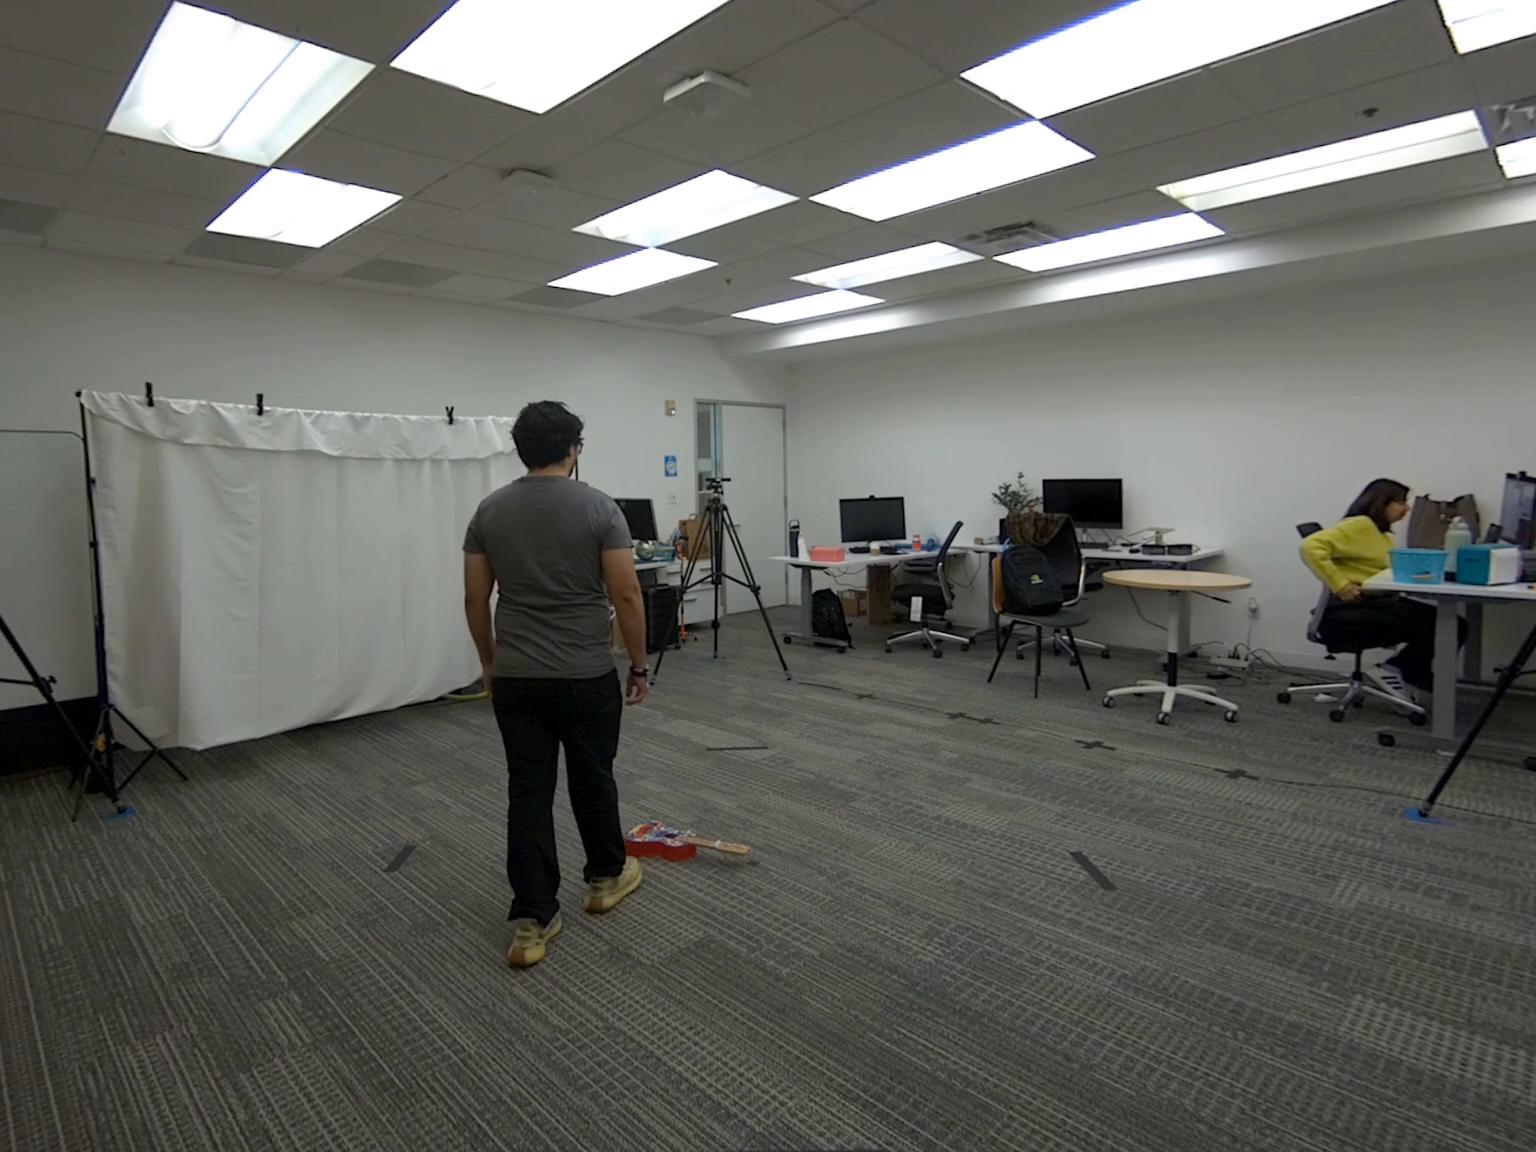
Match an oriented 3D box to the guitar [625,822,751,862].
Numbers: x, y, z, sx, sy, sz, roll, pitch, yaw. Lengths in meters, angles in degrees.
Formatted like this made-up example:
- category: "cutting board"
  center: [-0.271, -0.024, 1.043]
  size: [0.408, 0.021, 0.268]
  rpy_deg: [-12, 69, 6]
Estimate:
- category: "guitar"
  center: [-0.309, 1.008, 3.155]
  size: [0.512, 0.070, 0.188]
  rpy_deg: [3, 7, 34]
